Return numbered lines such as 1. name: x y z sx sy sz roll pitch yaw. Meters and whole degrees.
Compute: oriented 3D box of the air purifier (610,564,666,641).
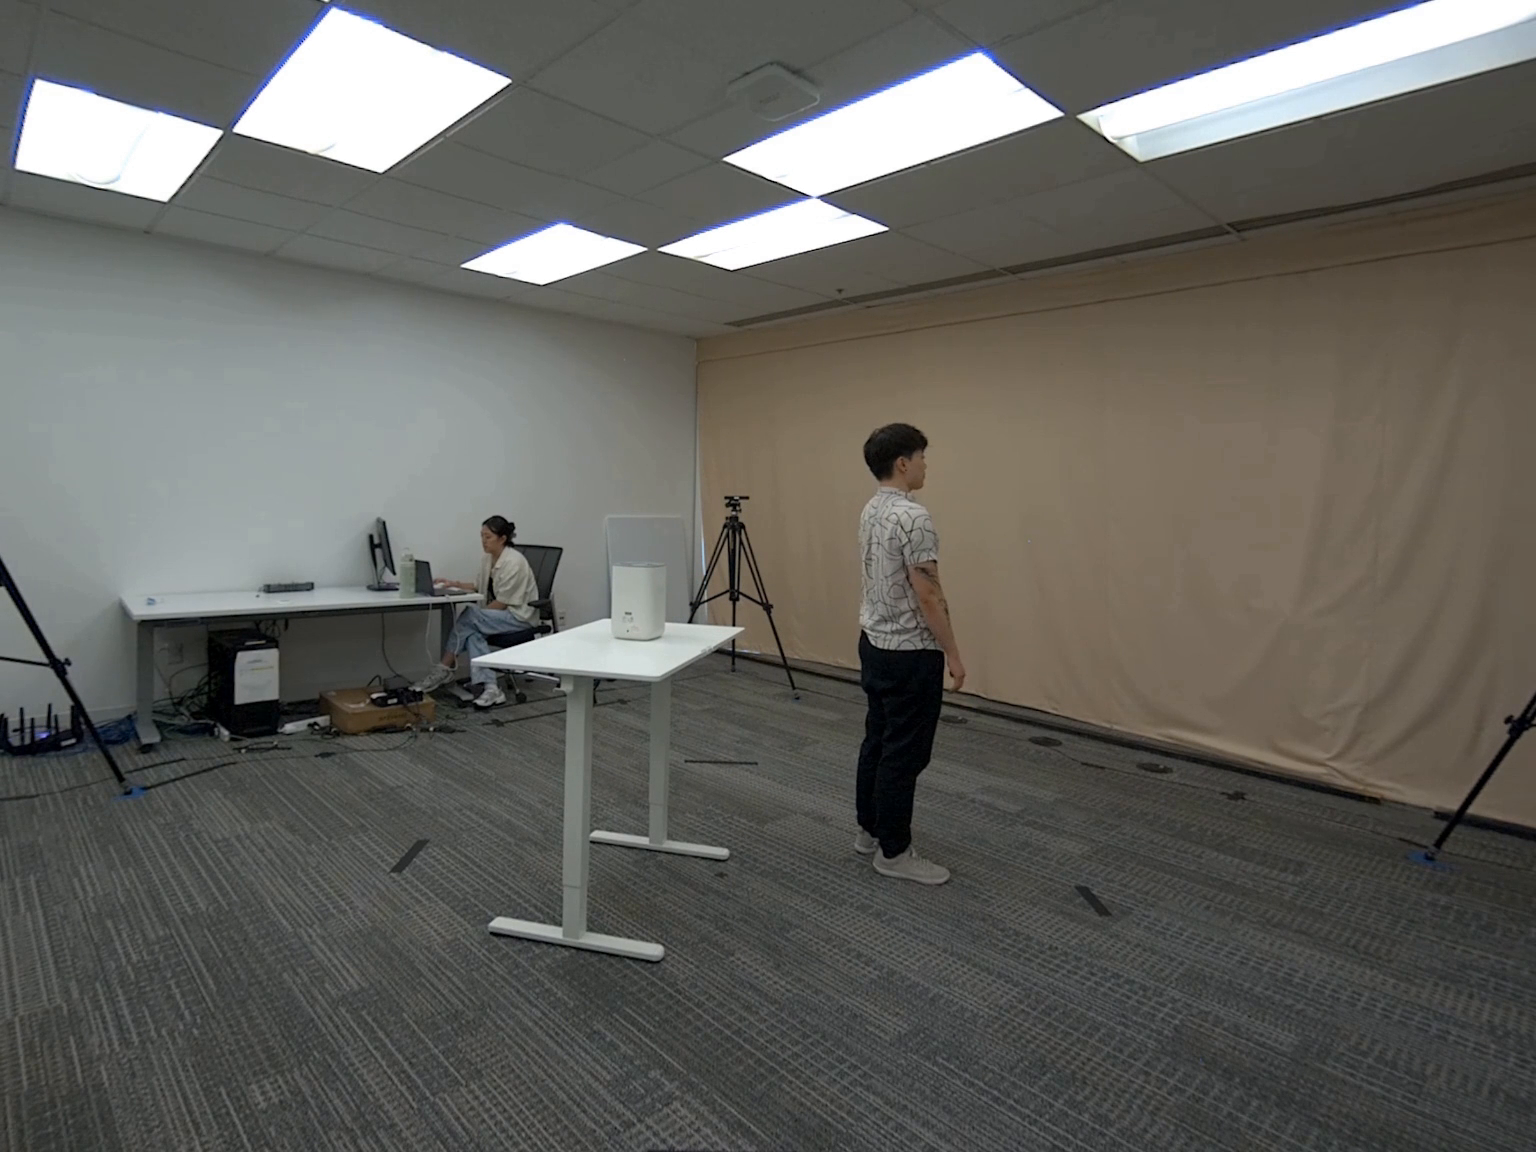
1. air purifier: -0.476 0.092 3.014 0.172 0.265 0.170 2 4 10
